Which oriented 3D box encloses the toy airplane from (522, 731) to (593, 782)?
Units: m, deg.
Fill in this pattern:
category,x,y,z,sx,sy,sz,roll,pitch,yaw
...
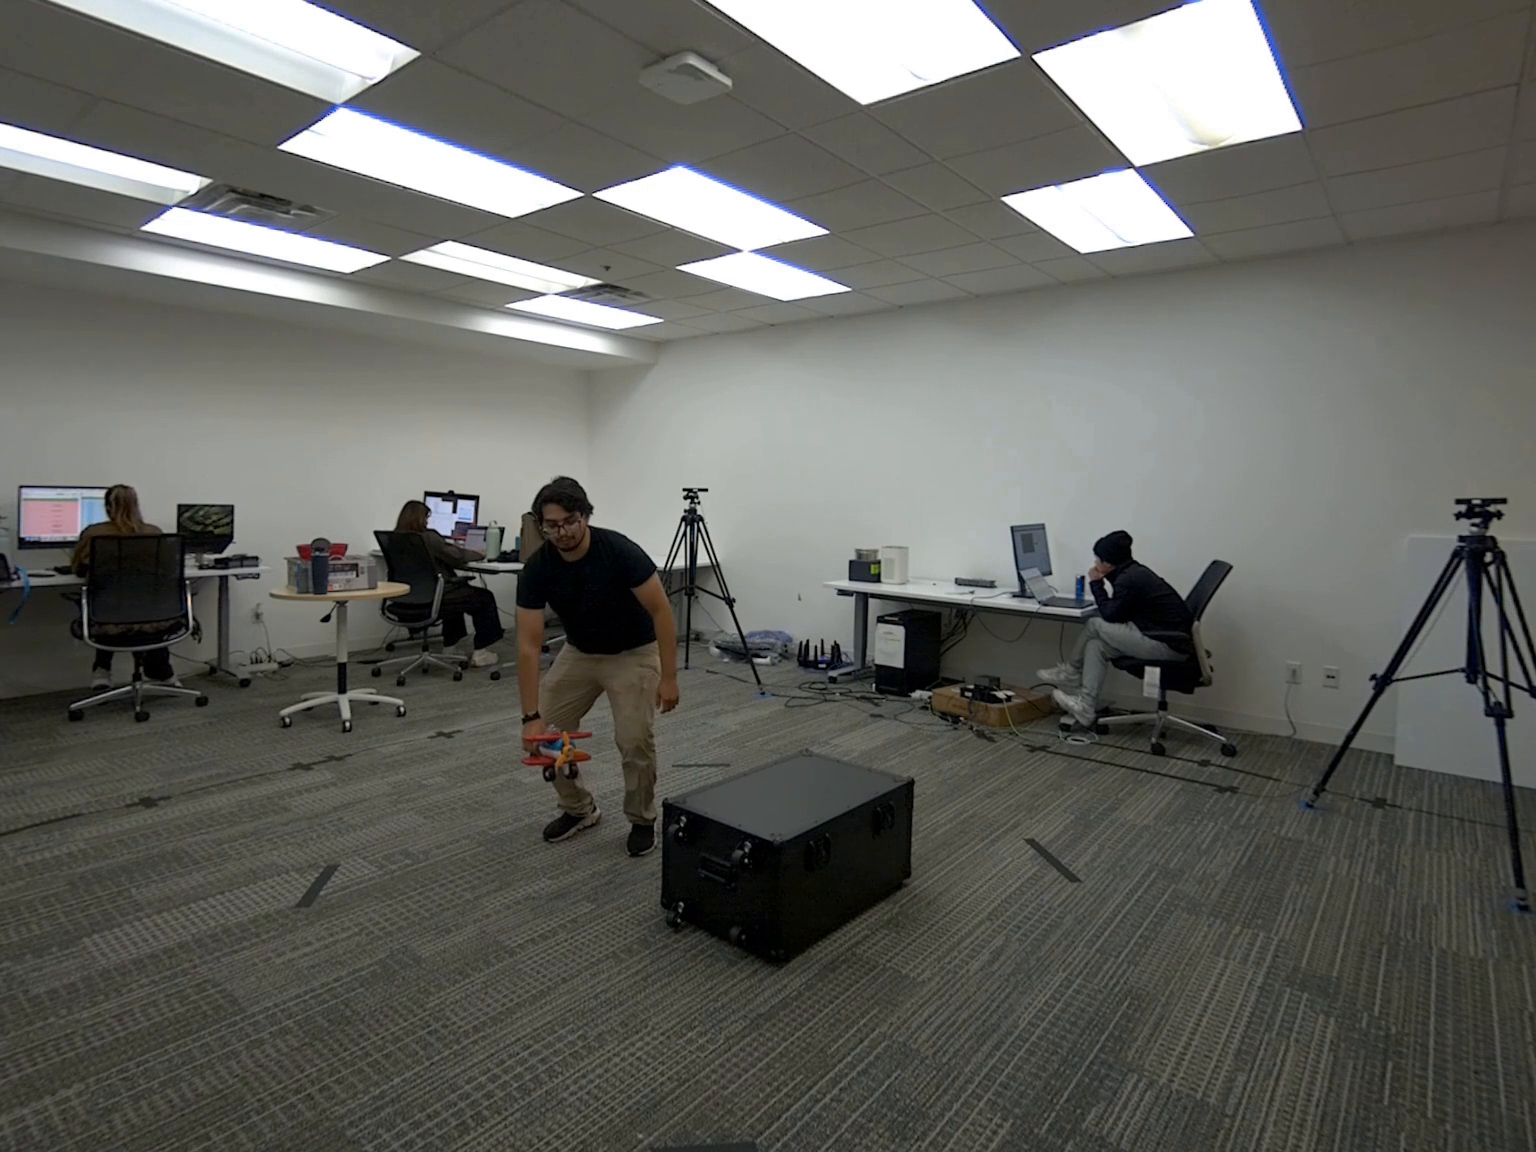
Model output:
category,x,y,z,sx,sy,sz,roll,pitch,yaw
toy airplane,-0.790,0.612,2.986,0.266,0.156,0.245,13,6,22
